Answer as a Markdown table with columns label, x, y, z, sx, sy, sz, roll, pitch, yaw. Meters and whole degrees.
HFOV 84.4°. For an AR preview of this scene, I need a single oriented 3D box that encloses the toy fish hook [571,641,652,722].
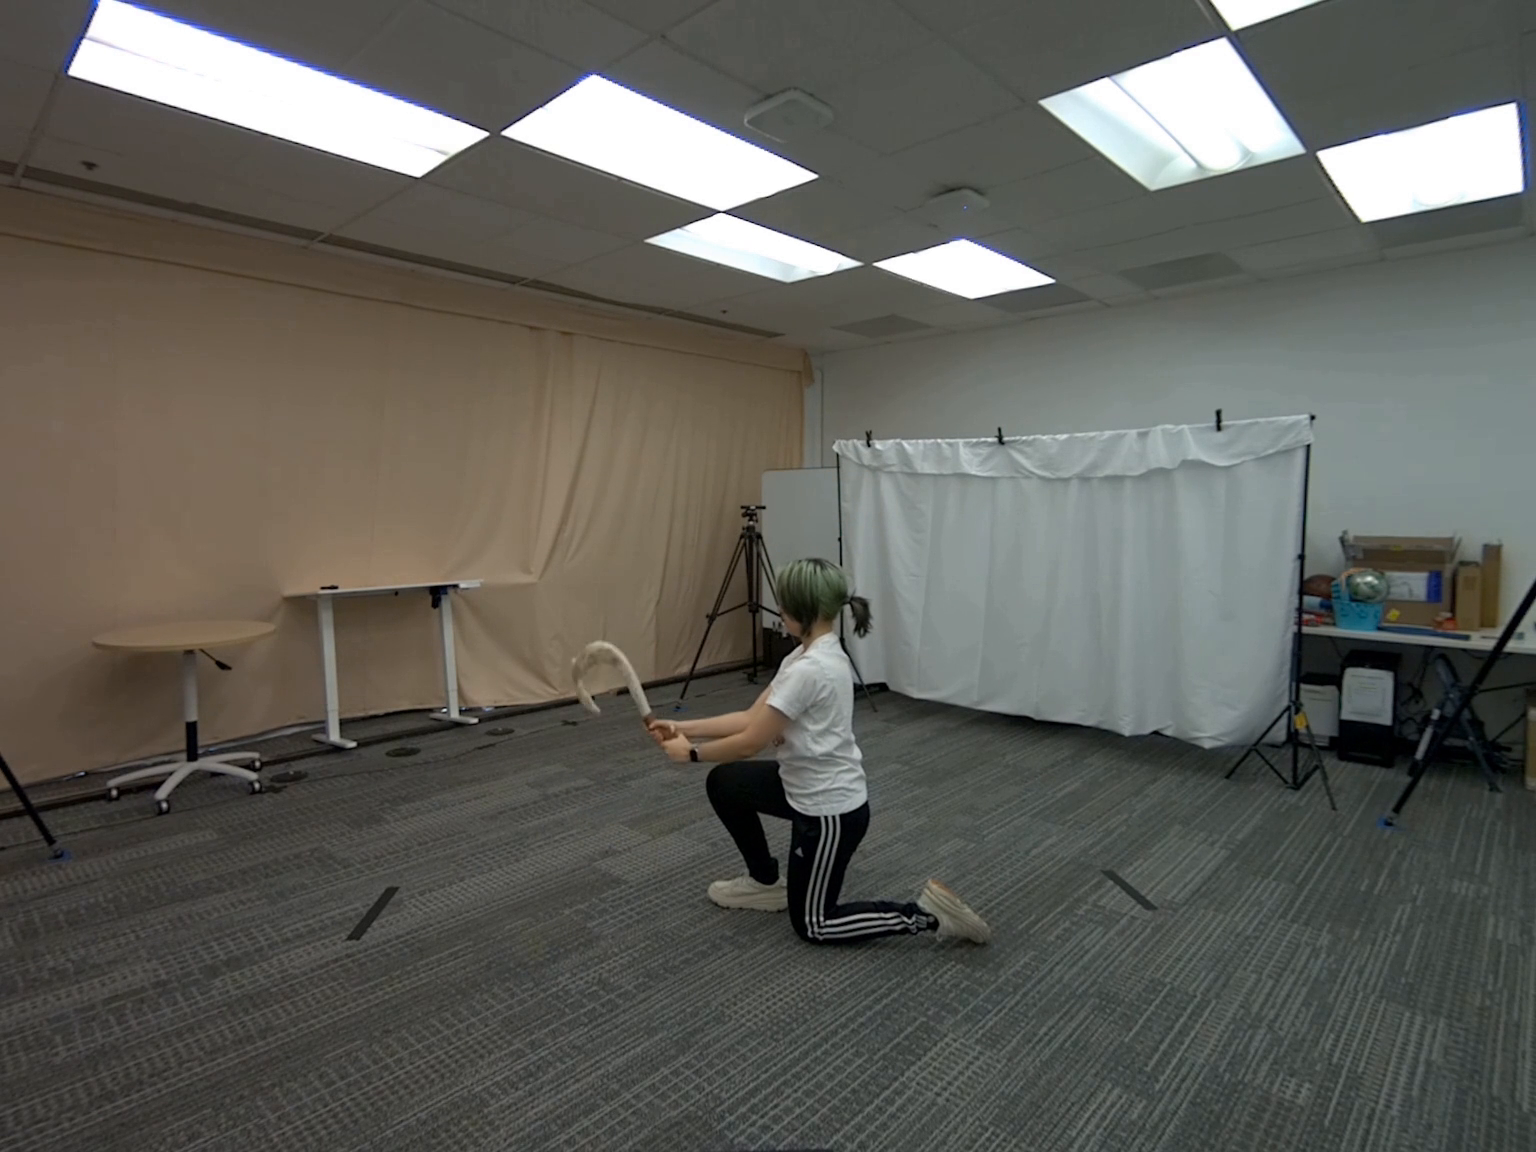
| label | x | y | z | sx | sy | sz | roll | pitch | yaw |
| --- | --- | --- | --- | --- | --- | --- | --- | --- | --- |
| toy fish hook | -0.455 | 0.445 | 2.792 | 0.226 | 0.513 | 0.047 | -42 | -11 | 18 |
